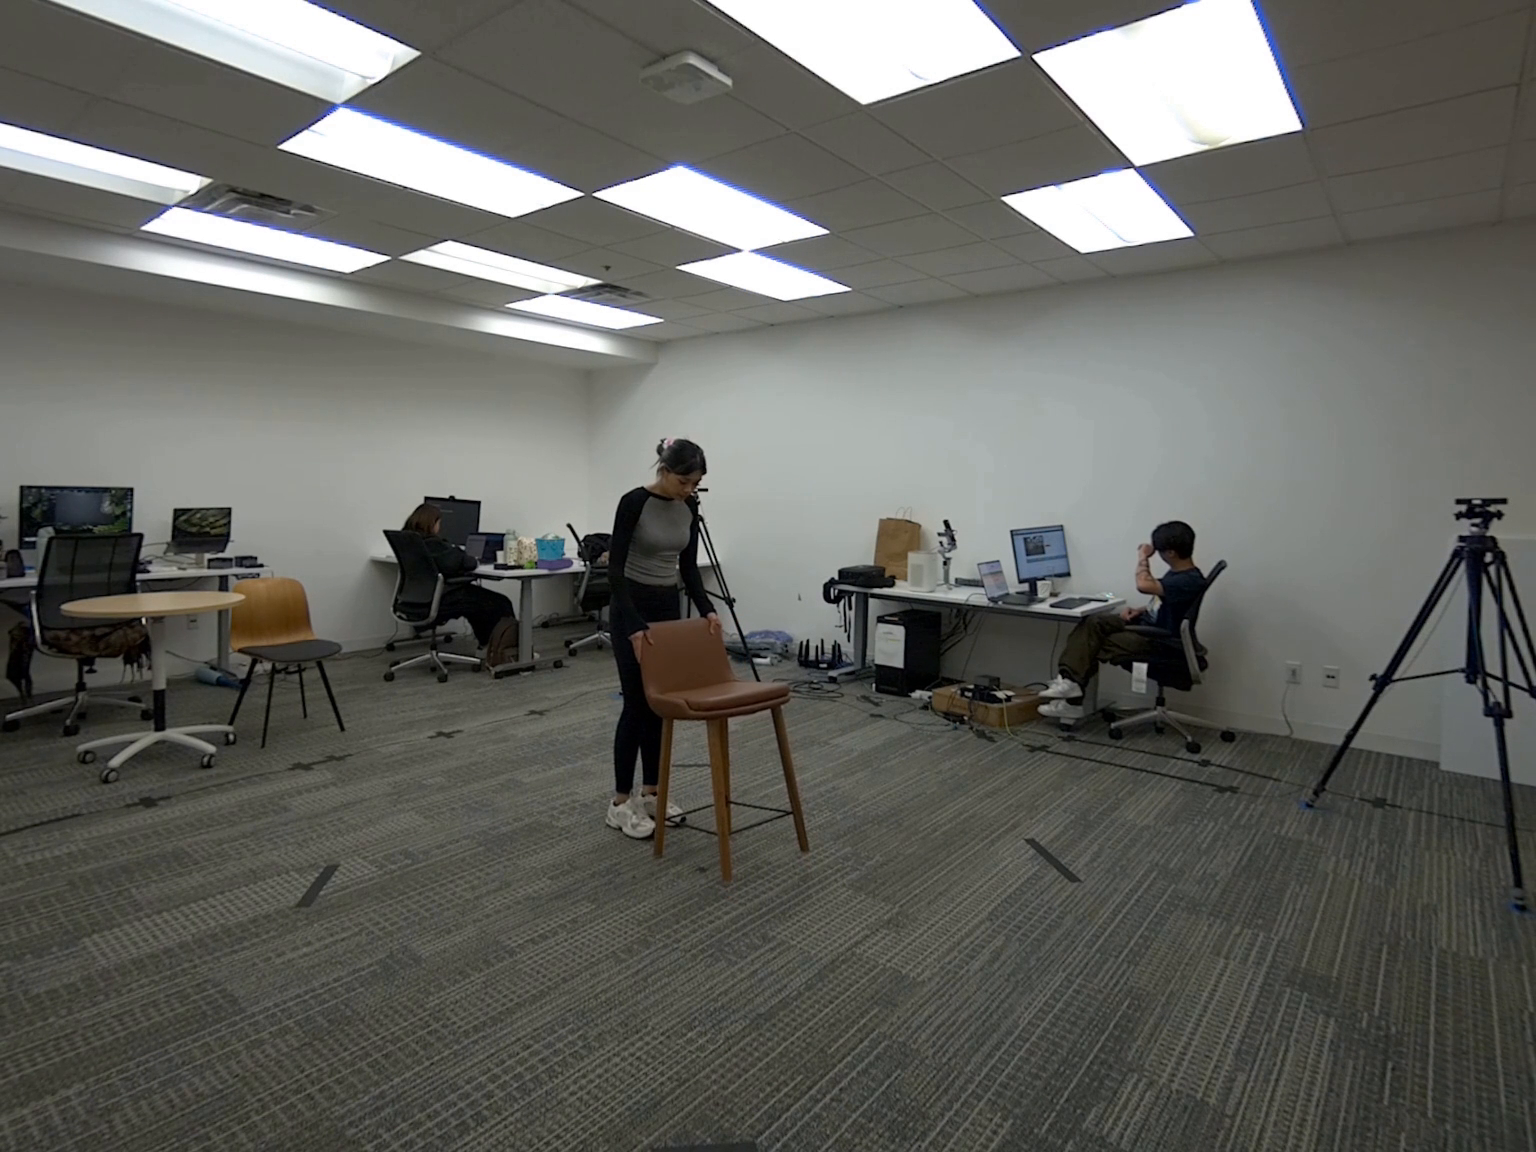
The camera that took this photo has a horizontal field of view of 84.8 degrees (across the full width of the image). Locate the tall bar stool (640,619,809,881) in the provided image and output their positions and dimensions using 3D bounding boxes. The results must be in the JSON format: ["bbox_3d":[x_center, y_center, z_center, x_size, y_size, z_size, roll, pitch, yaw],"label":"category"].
[{"bbox_3d":[-0.193,0.600,3.203,0.443,0.895,0.479,-2,-6,-41],"label":"tall bar stool"}]
